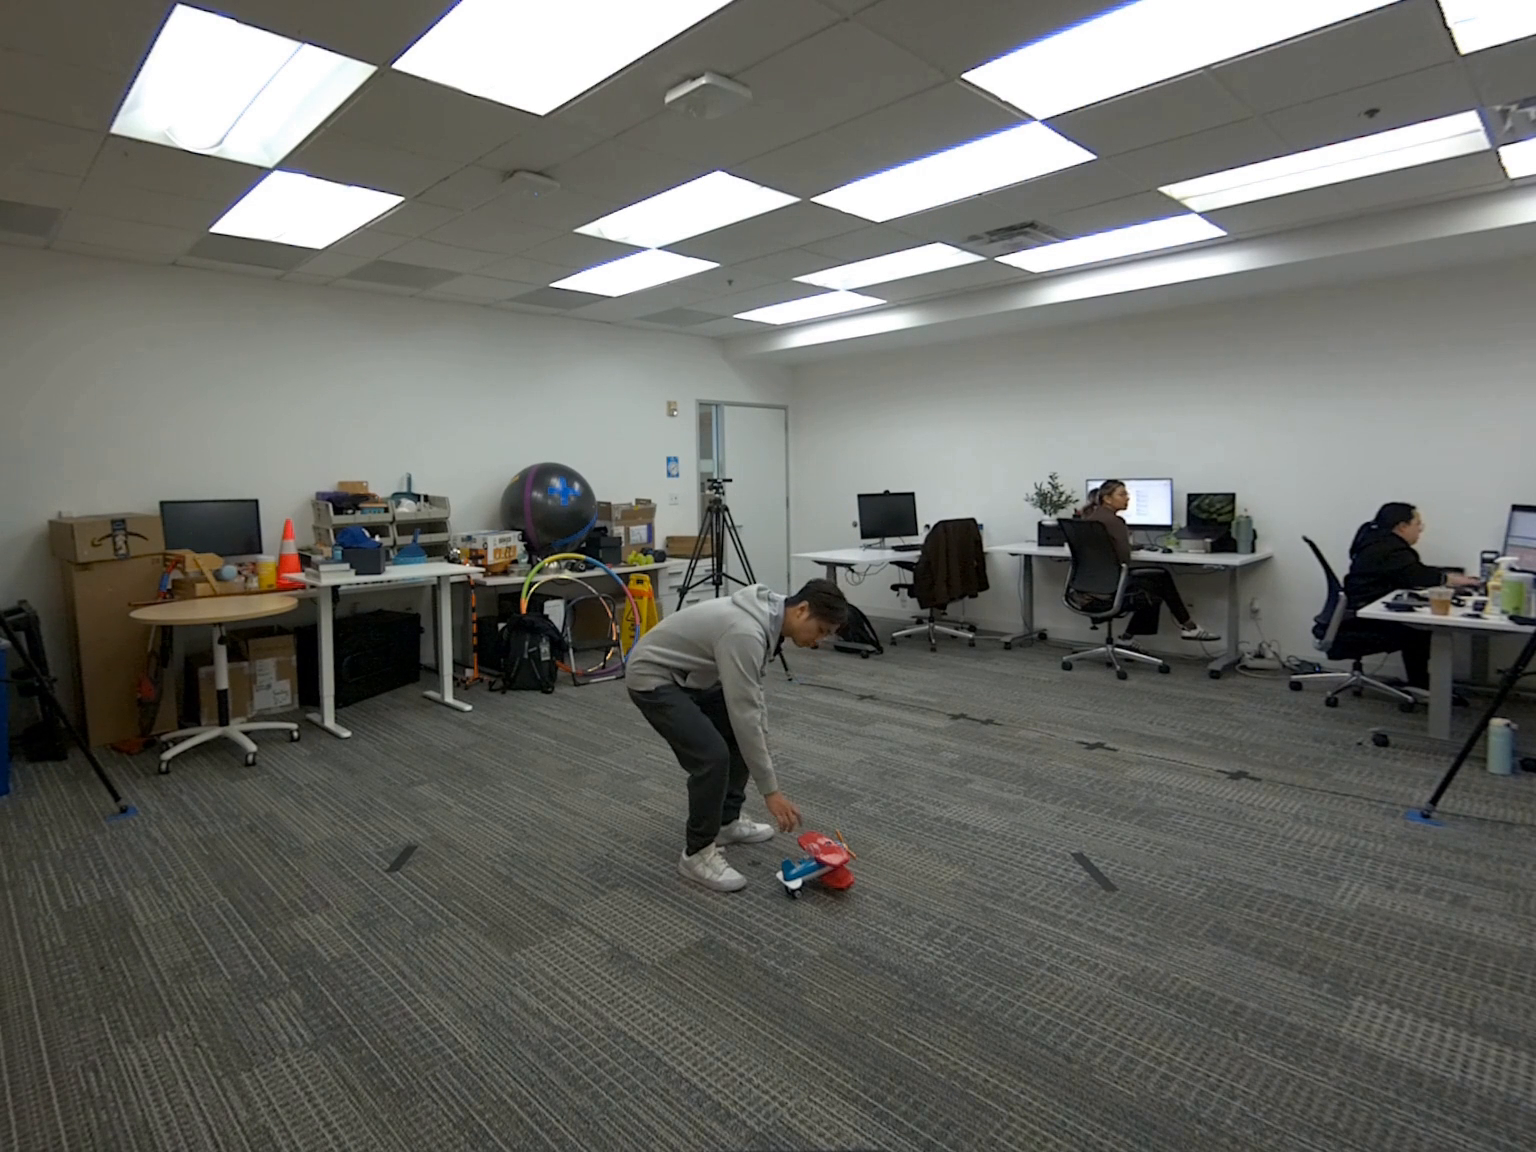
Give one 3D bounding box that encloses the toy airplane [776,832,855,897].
[{"bbox_3d":[0.174,0.989,2.882,0.258,0.156,0.253,3,6,34],"label":"toy airplane"}]
